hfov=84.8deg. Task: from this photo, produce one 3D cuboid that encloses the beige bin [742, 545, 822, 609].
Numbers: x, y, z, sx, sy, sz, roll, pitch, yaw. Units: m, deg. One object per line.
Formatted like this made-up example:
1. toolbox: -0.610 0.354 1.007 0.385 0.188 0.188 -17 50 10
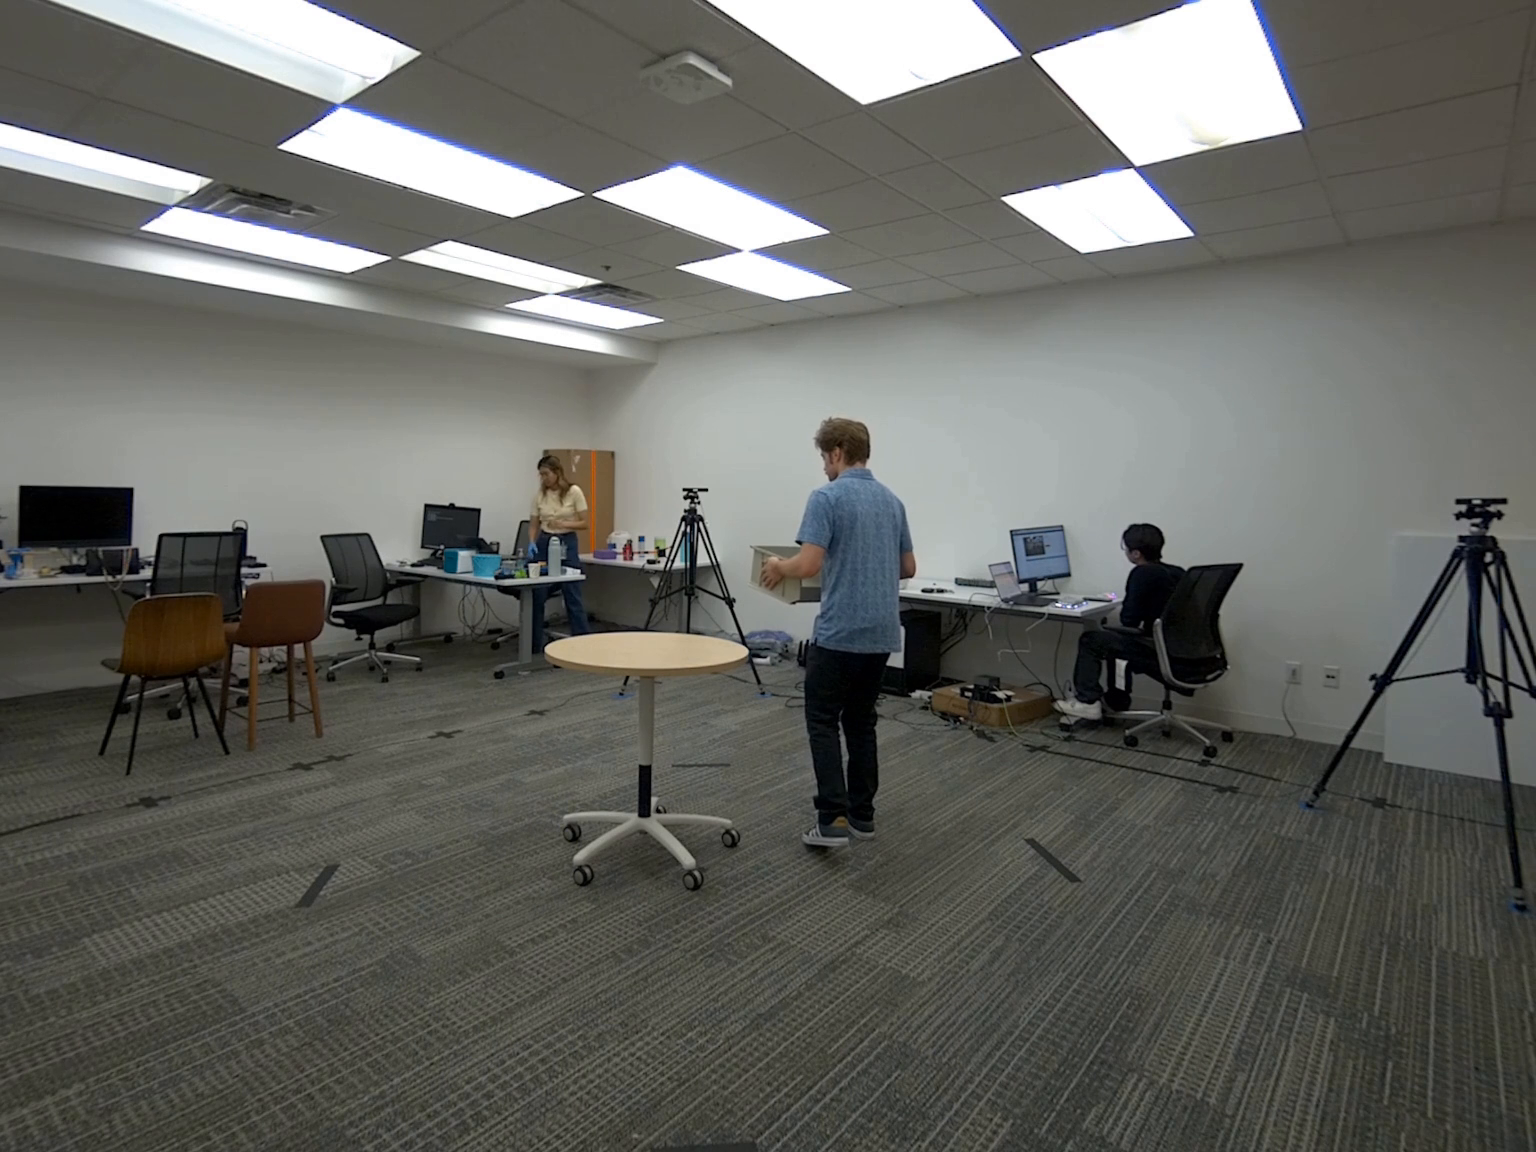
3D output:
1. beige bin: 0.175 -0.005 3.709 0.410 0.187 0.391 -1 12 -34
